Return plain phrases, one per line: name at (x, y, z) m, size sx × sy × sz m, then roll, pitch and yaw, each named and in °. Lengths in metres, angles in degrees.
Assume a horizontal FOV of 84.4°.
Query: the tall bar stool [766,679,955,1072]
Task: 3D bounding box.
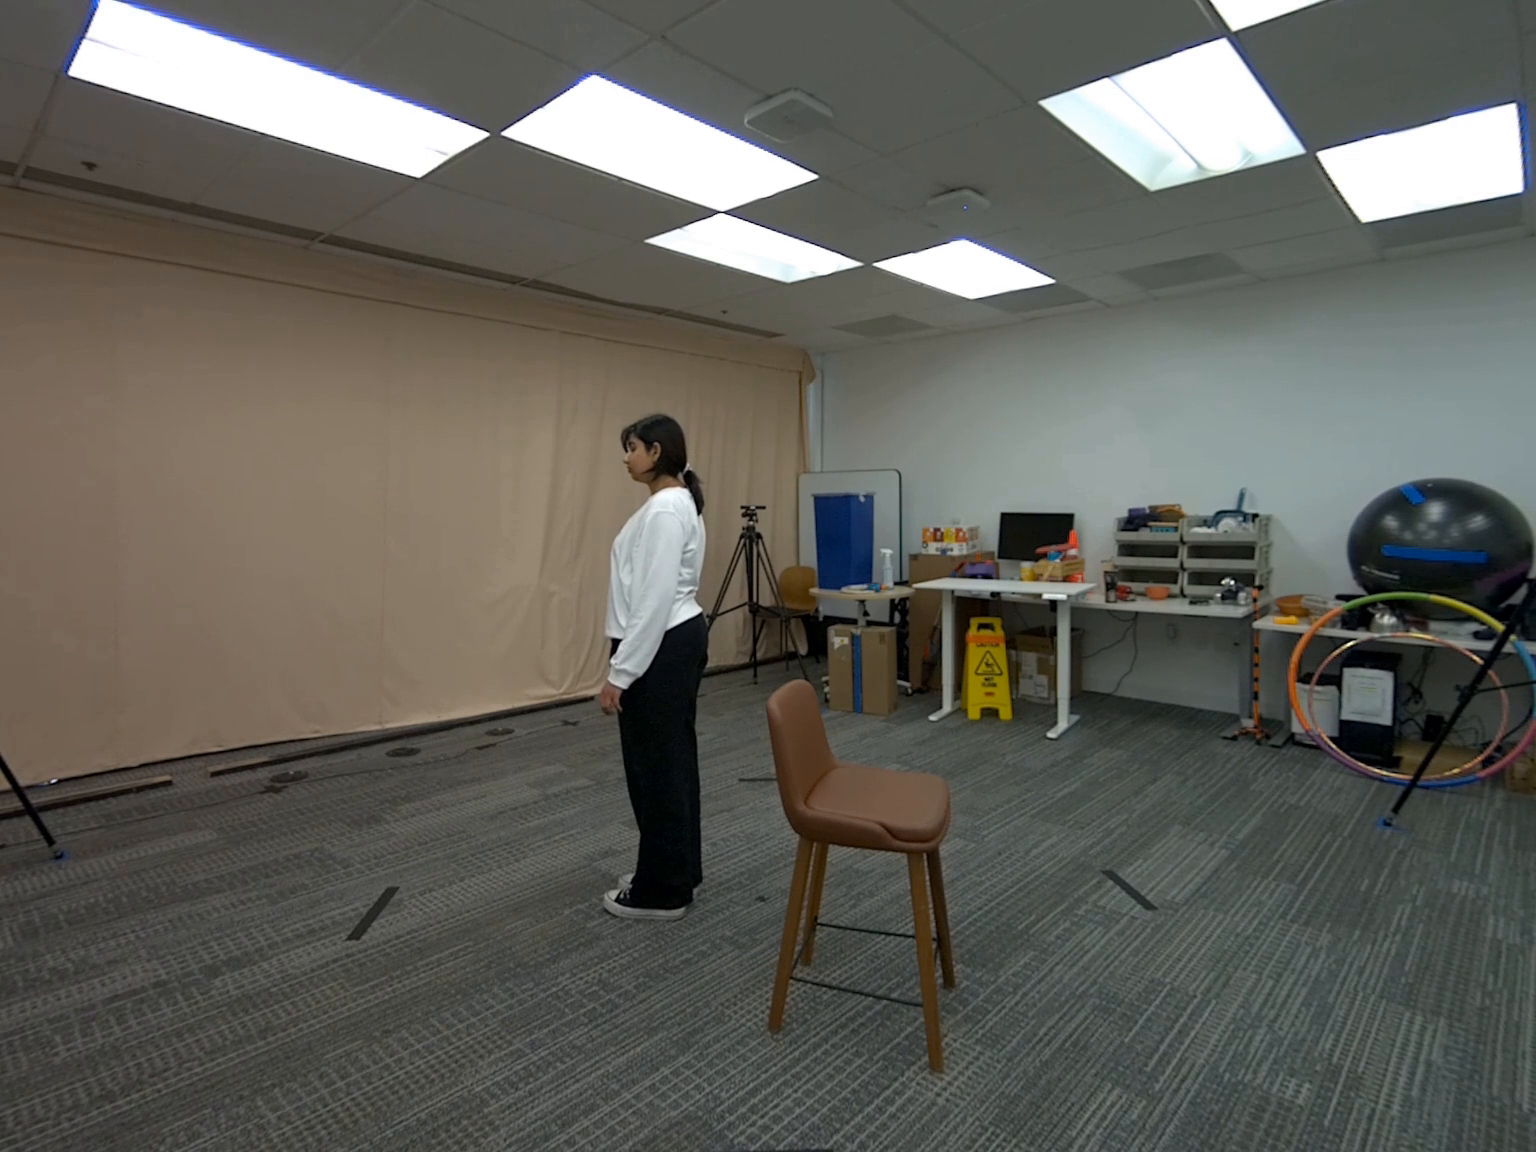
tall bar stool at (0.274, 0.765, 2.310) m, size 0.478 × 0.888 × 0.447 m, roll 0°, pitch 3°, yaw 20°
